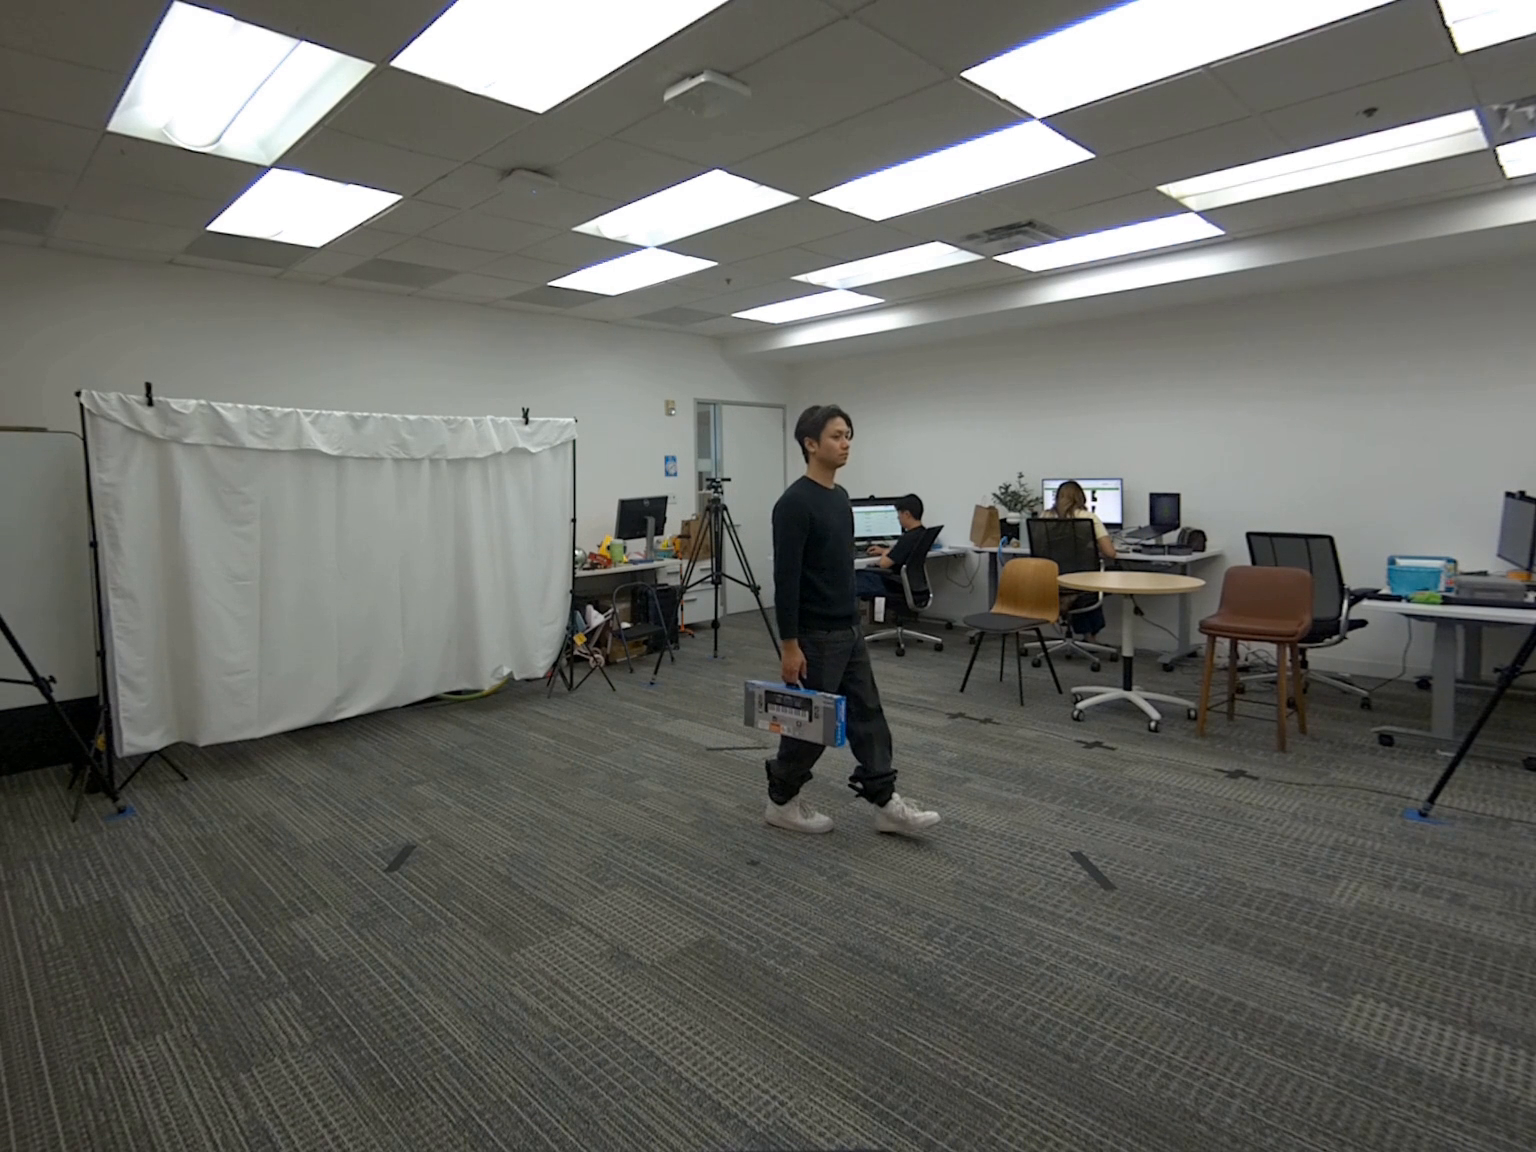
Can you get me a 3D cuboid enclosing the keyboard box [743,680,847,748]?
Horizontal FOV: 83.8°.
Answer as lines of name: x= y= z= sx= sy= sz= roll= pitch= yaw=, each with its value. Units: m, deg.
keyboard box: x=0.095 y=0.500 z=3.138 sx=0.450 sy=0.176 sz=0.057 roll=4 pitch=2 yaw=44
